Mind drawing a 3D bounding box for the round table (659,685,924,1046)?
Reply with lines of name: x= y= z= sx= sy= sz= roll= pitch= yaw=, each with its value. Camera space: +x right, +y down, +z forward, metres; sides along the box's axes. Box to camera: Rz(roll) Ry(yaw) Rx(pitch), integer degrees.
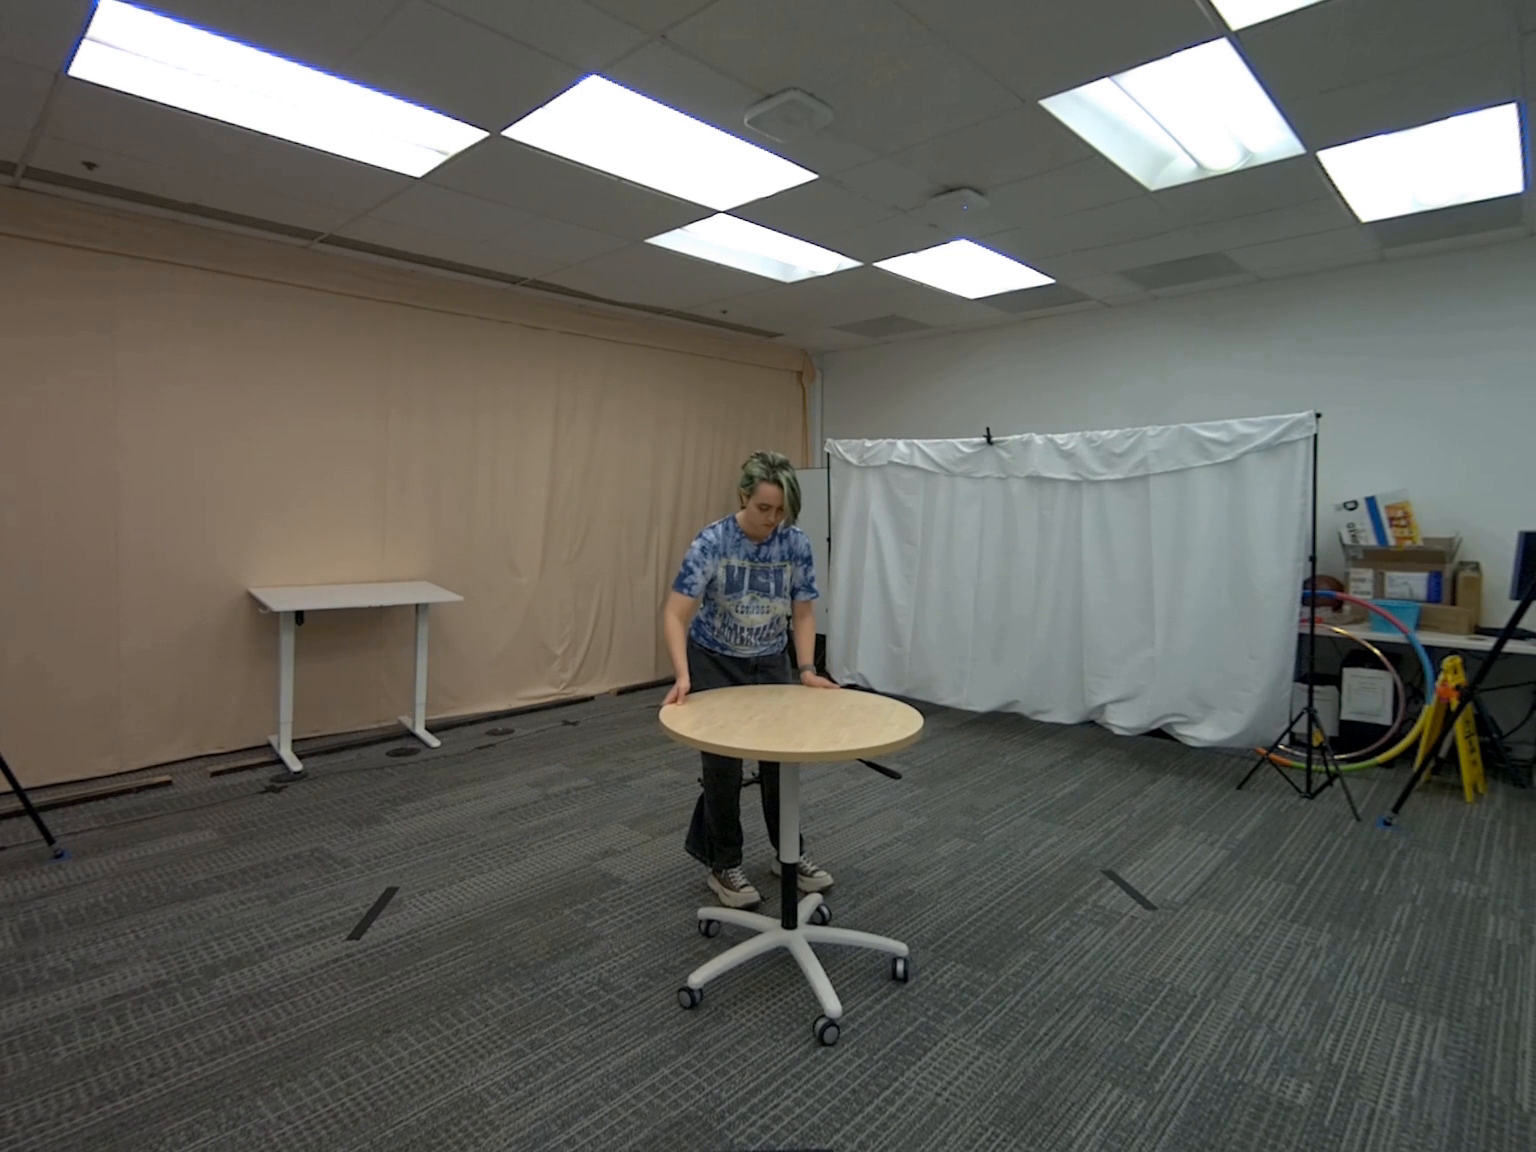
round table: x=0.070 y=0.795 z=2.490 sx=0.763 sy=0.792 sz=0.767 roll=0 pitch=4 yaw=-2
